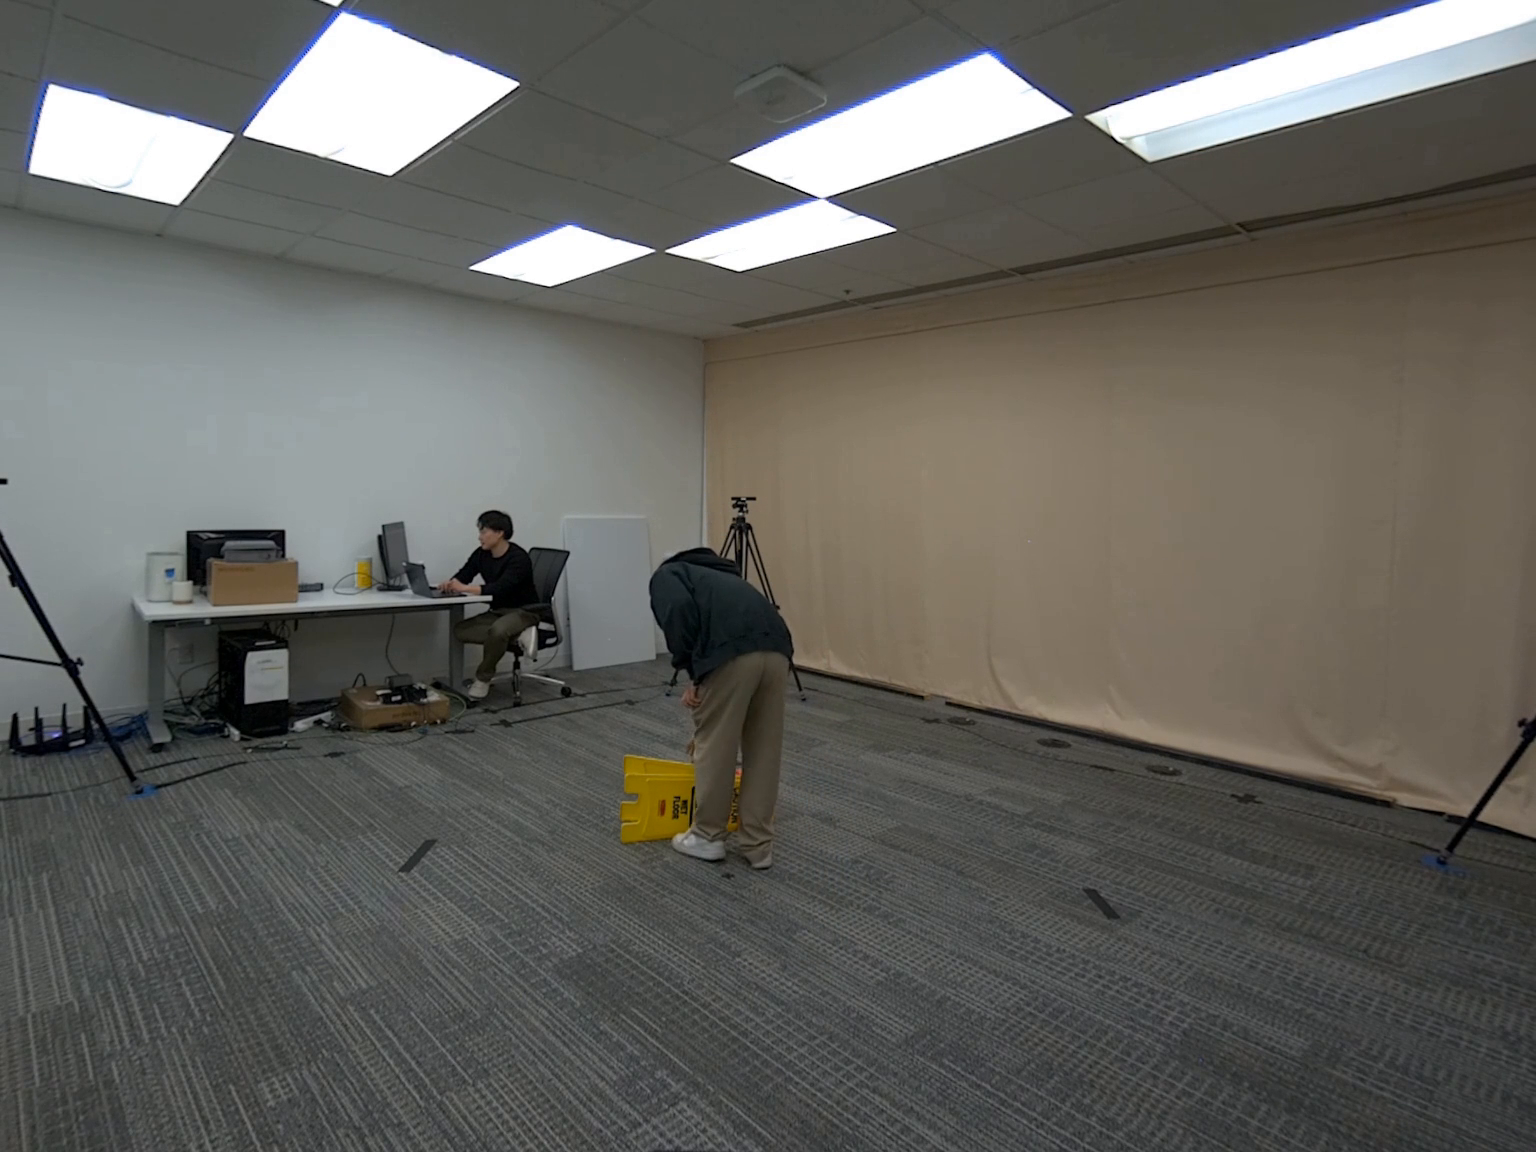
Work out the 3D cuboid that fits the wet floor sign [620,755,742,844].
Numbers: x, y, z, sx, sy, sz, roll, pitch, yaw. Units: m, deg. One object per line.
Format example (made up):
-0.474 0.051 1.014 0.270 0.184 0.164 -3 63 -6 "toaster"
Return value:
-0.297 0.939 3.552 0.641 0.282 0.292 4 3 -9 "wet floor sign"
